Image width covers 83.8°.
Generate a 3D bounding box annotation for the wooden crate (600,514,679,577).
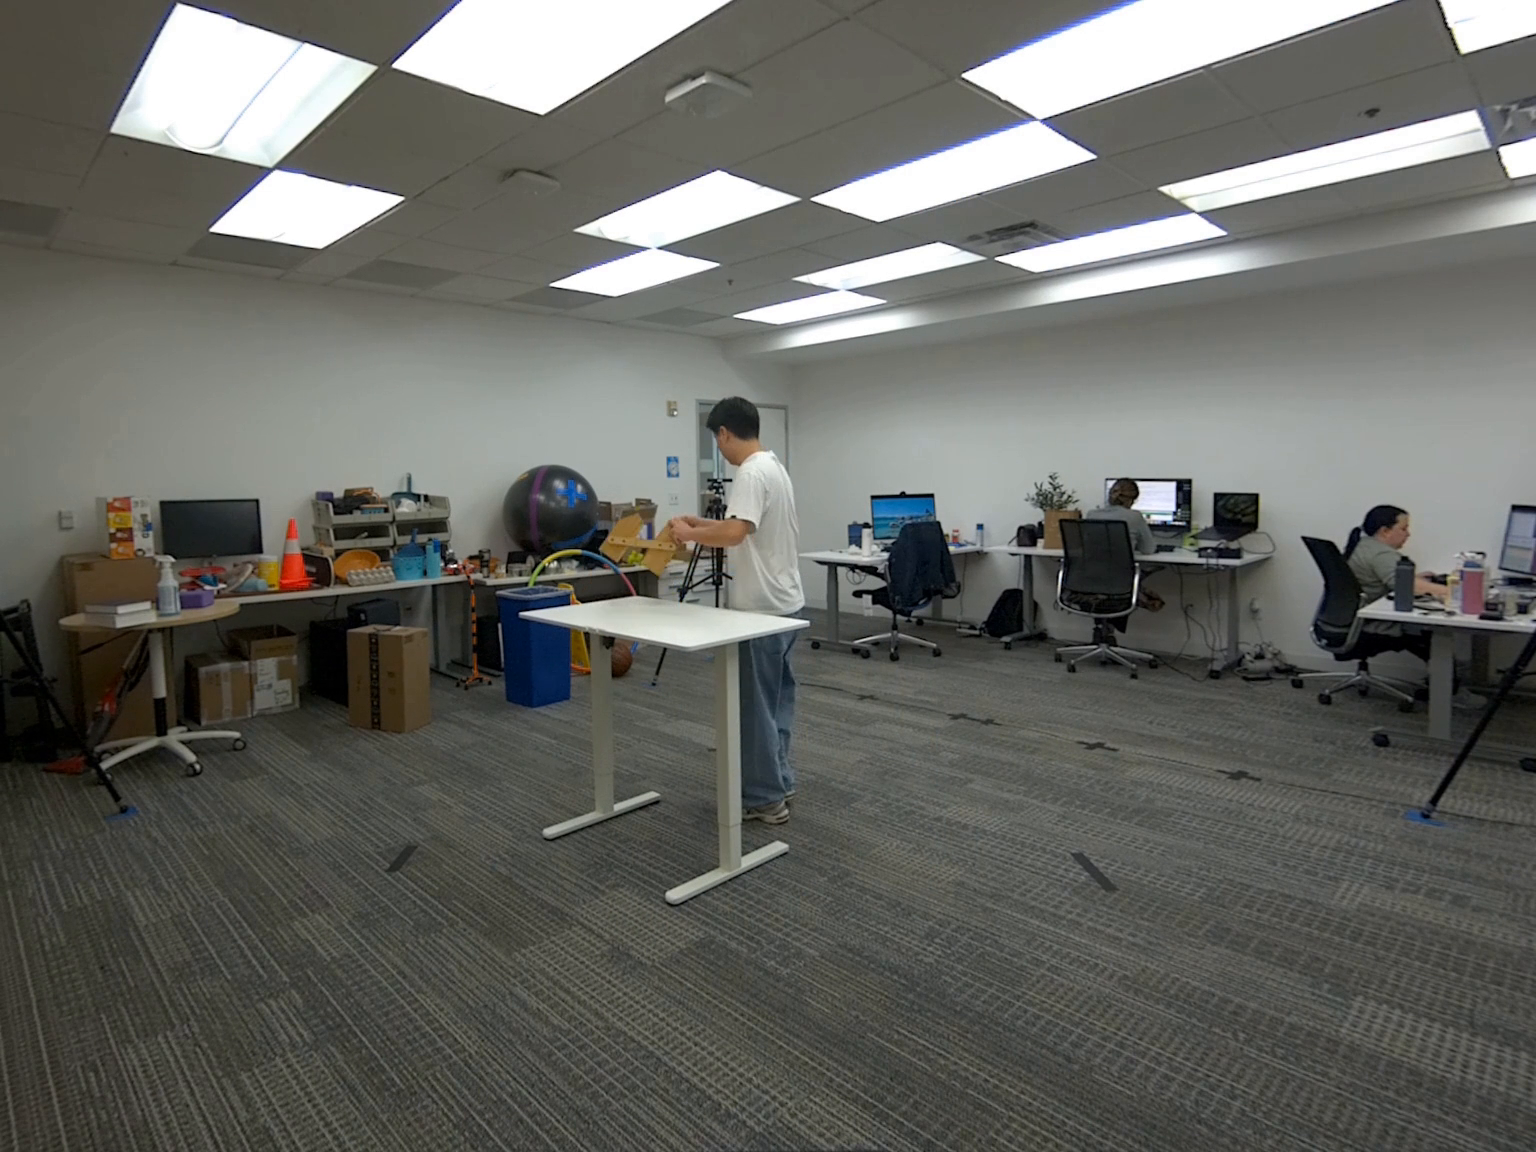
[{"bbox_3d":[-0.501,-0.145,3.625,0.272,0.302,0.326,35,-3,-5],"label":"wooden crate"}]
